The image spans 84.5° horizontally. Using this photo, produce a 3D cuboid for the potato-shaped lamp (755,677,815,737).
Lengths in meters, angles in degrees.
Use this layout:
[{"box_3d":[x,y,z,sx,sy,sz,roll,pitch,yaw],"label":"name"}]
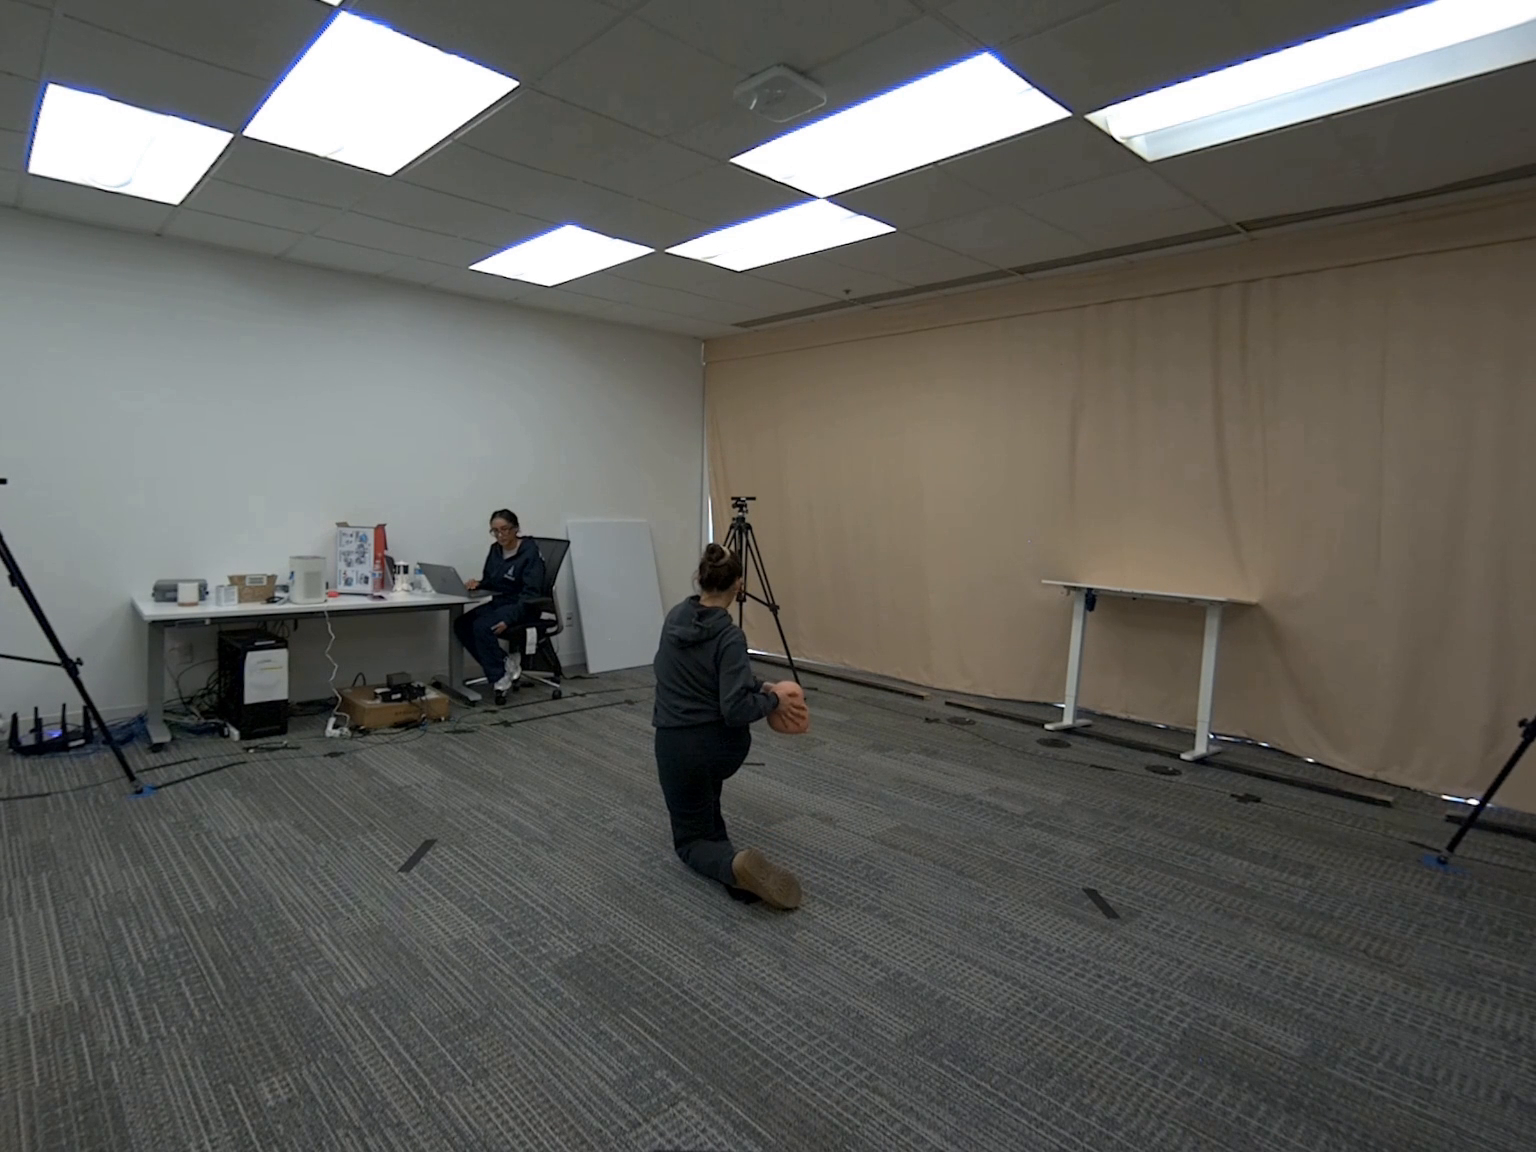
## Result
[{"box_3d":[0.064,0.504,3.291,0.169,0.198,0.167,3,-1,-19],"label":"potato-shaped lamp"}]
